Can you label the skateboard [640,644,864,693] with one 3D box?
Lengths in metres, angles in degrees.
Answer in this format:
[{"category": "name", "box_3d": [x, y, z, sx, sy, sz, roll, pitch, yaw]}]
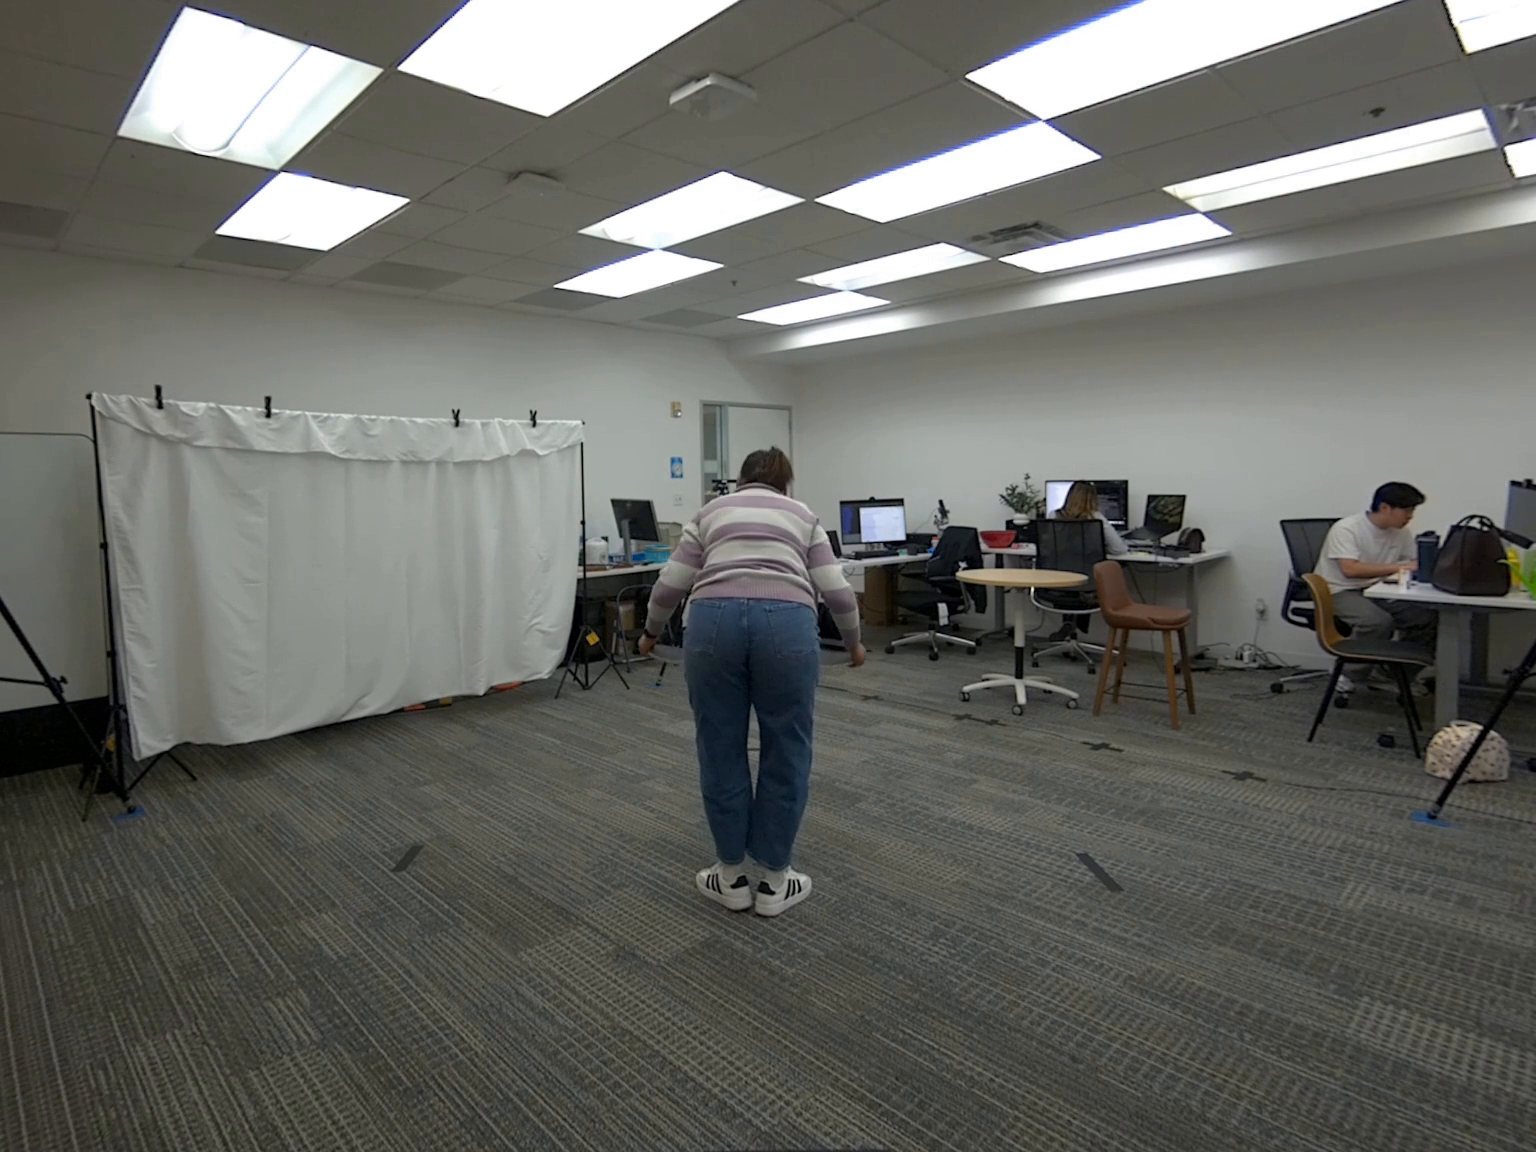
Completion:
[{"category": "skateboard", "box_3d": [-0.061, 0.333, 3.125, 0.789, 0.110, 0.193, 1, 5, 4]}]
